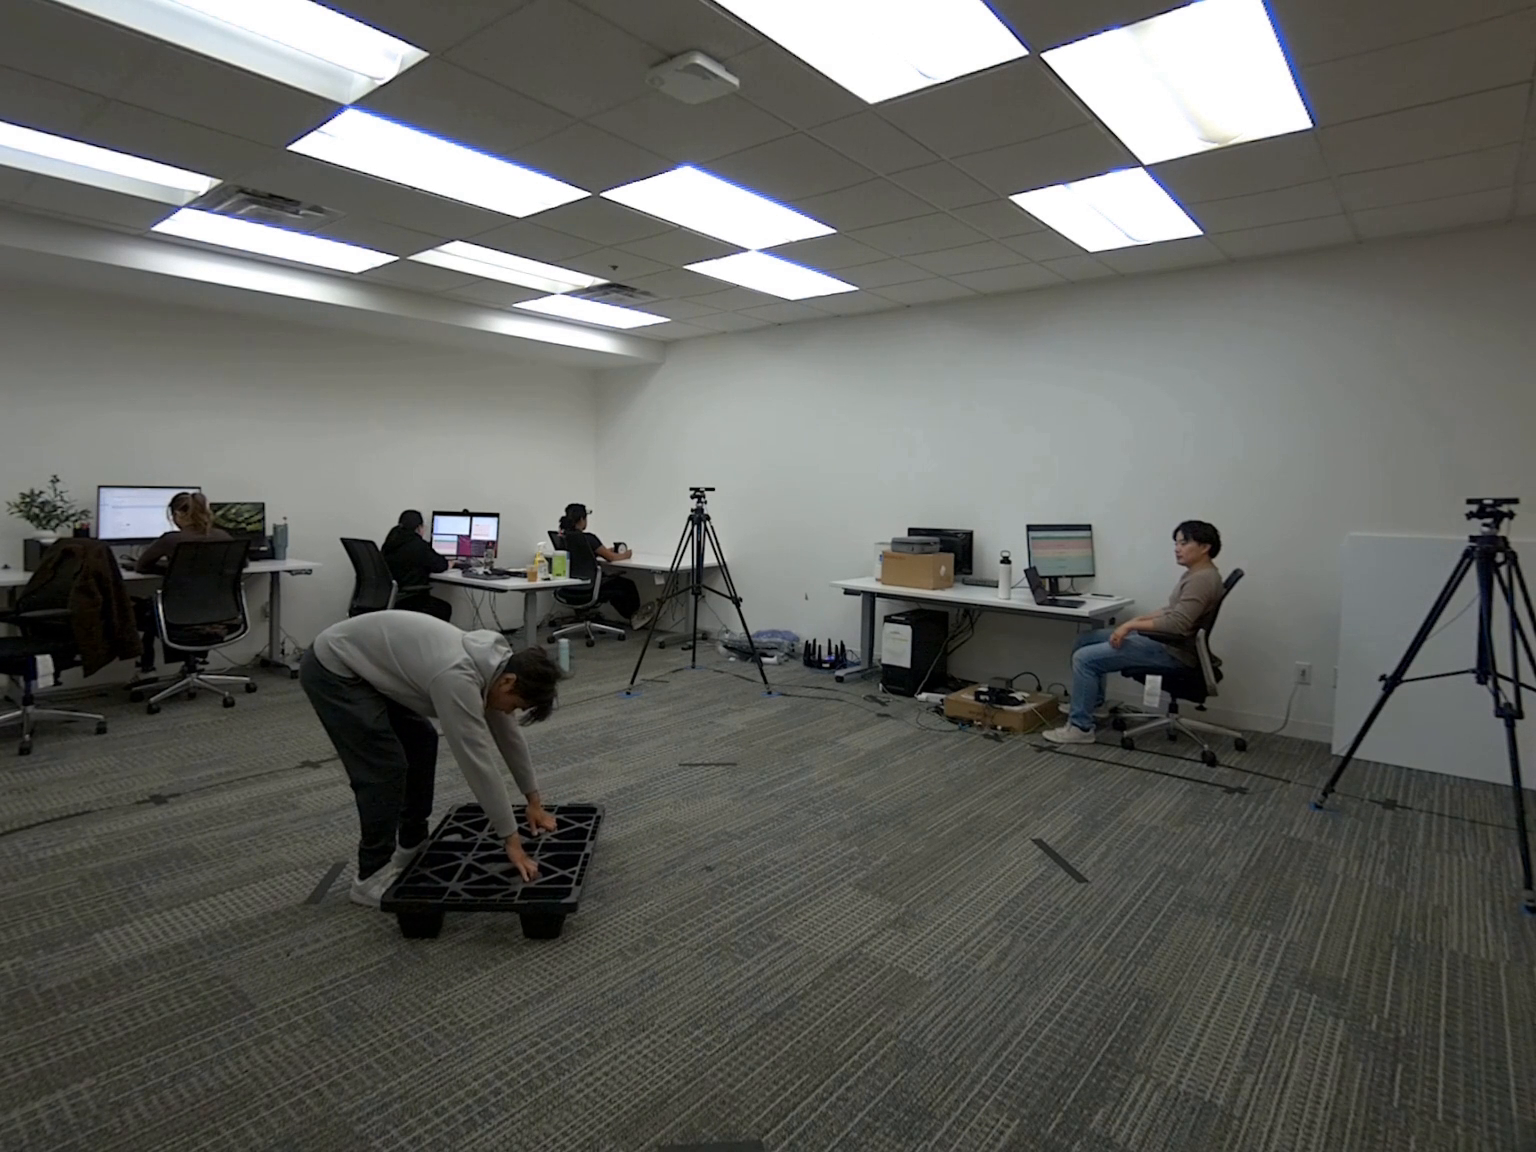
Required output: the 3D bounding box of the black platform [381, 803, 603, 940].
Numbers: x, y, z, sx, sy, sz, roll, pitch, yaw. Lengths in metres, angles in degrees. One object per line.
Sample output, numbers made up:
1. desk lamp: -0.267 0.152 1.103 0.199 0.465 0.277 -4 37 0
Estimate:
1. black platform: -0.916 1.001 2.956 0.604 0.143 0.811 -1 6 -3
